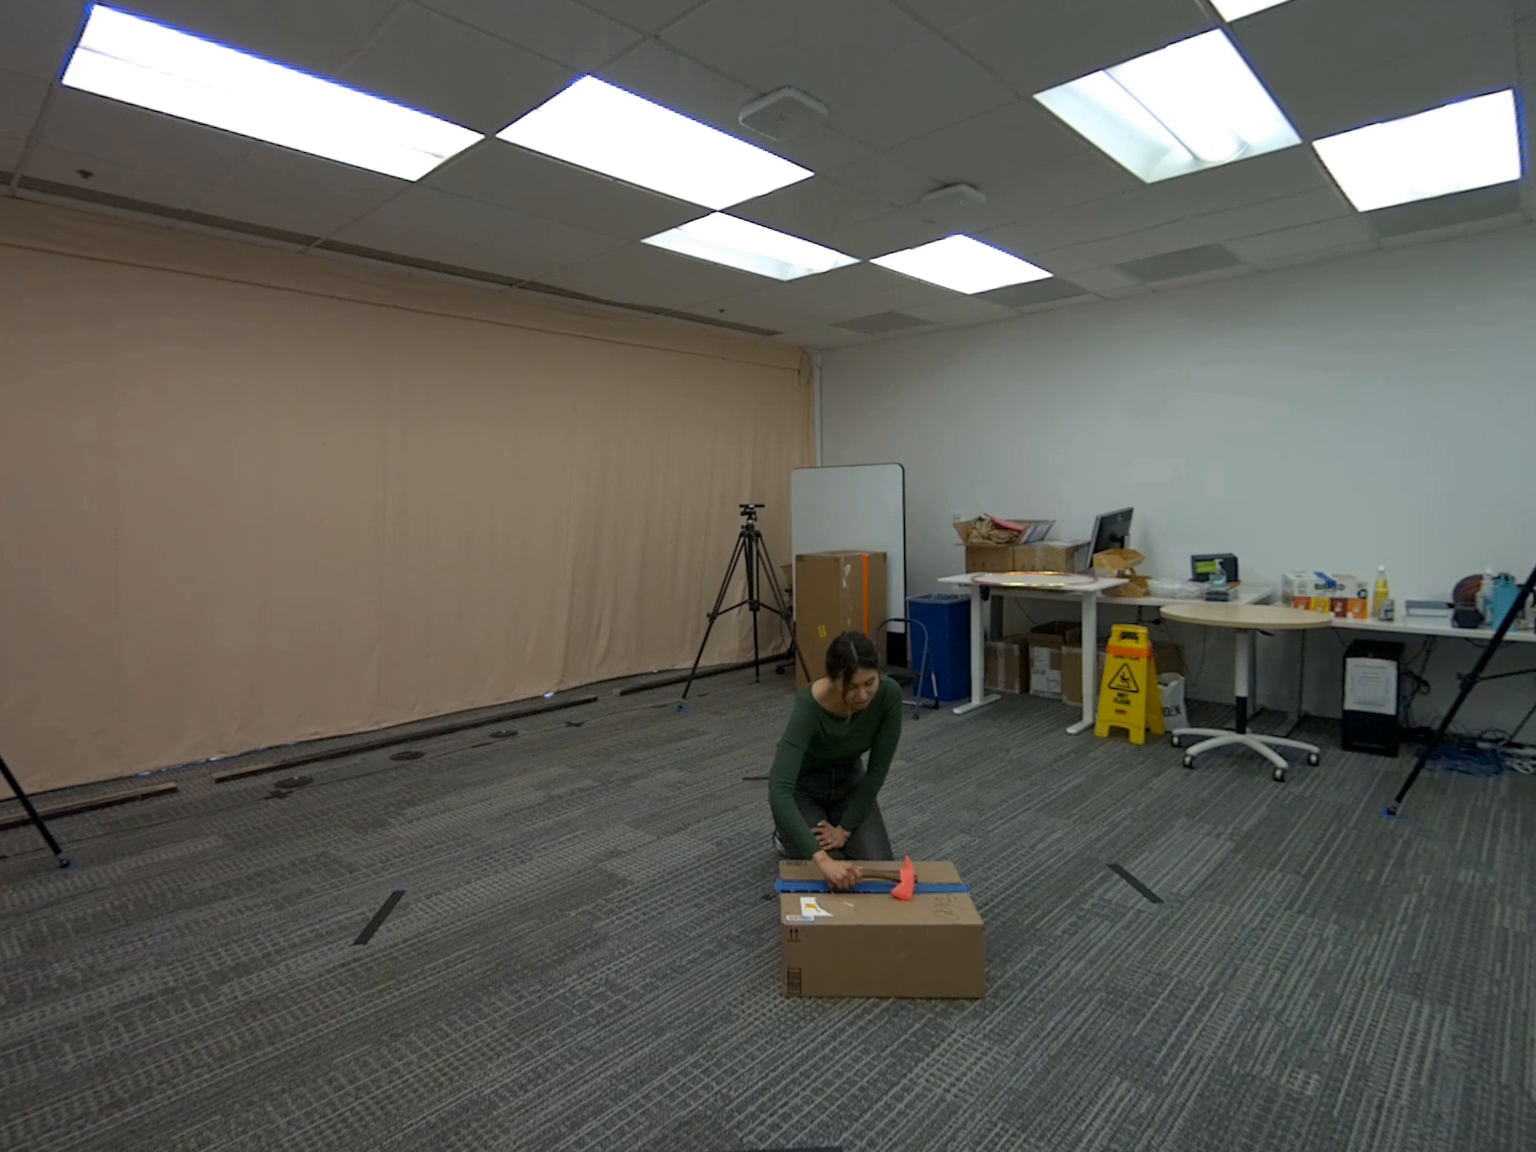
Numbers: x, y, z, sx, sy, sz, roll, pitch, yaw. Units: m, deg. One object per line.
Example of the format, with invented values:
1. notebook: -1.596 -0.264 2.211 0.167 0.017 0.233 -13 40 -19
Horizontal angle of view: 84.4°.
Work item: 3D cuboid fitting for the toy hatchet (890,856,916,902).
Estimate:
1. toy hatchet: 0.320 0.919 2.514 0.269 0.029 0.134 -12 48 -4
